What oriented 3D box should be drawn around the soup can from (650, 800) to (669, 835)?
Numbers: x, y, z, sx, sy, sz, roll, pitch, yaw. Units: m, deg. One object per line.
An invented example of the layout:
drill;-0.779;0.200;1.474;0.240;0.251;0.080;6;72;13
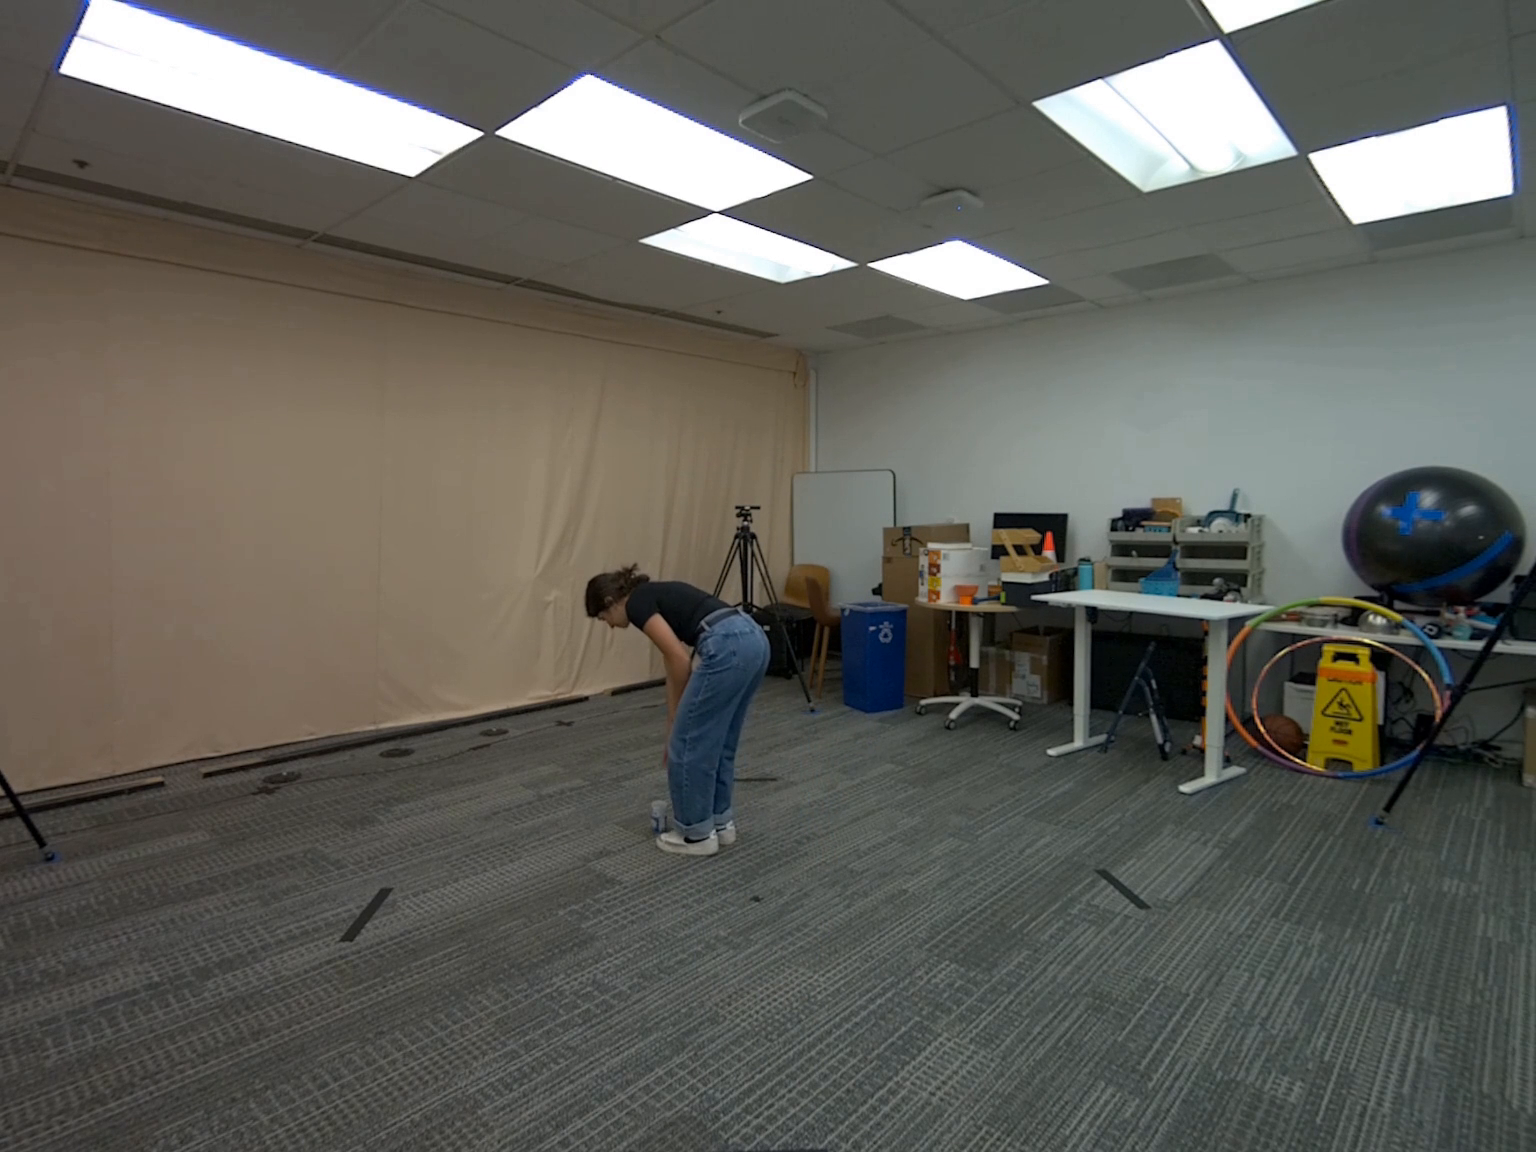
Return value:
soup can;-0.470;1.036;3.627;0.067;0.121;0.067;-2;2;-2
